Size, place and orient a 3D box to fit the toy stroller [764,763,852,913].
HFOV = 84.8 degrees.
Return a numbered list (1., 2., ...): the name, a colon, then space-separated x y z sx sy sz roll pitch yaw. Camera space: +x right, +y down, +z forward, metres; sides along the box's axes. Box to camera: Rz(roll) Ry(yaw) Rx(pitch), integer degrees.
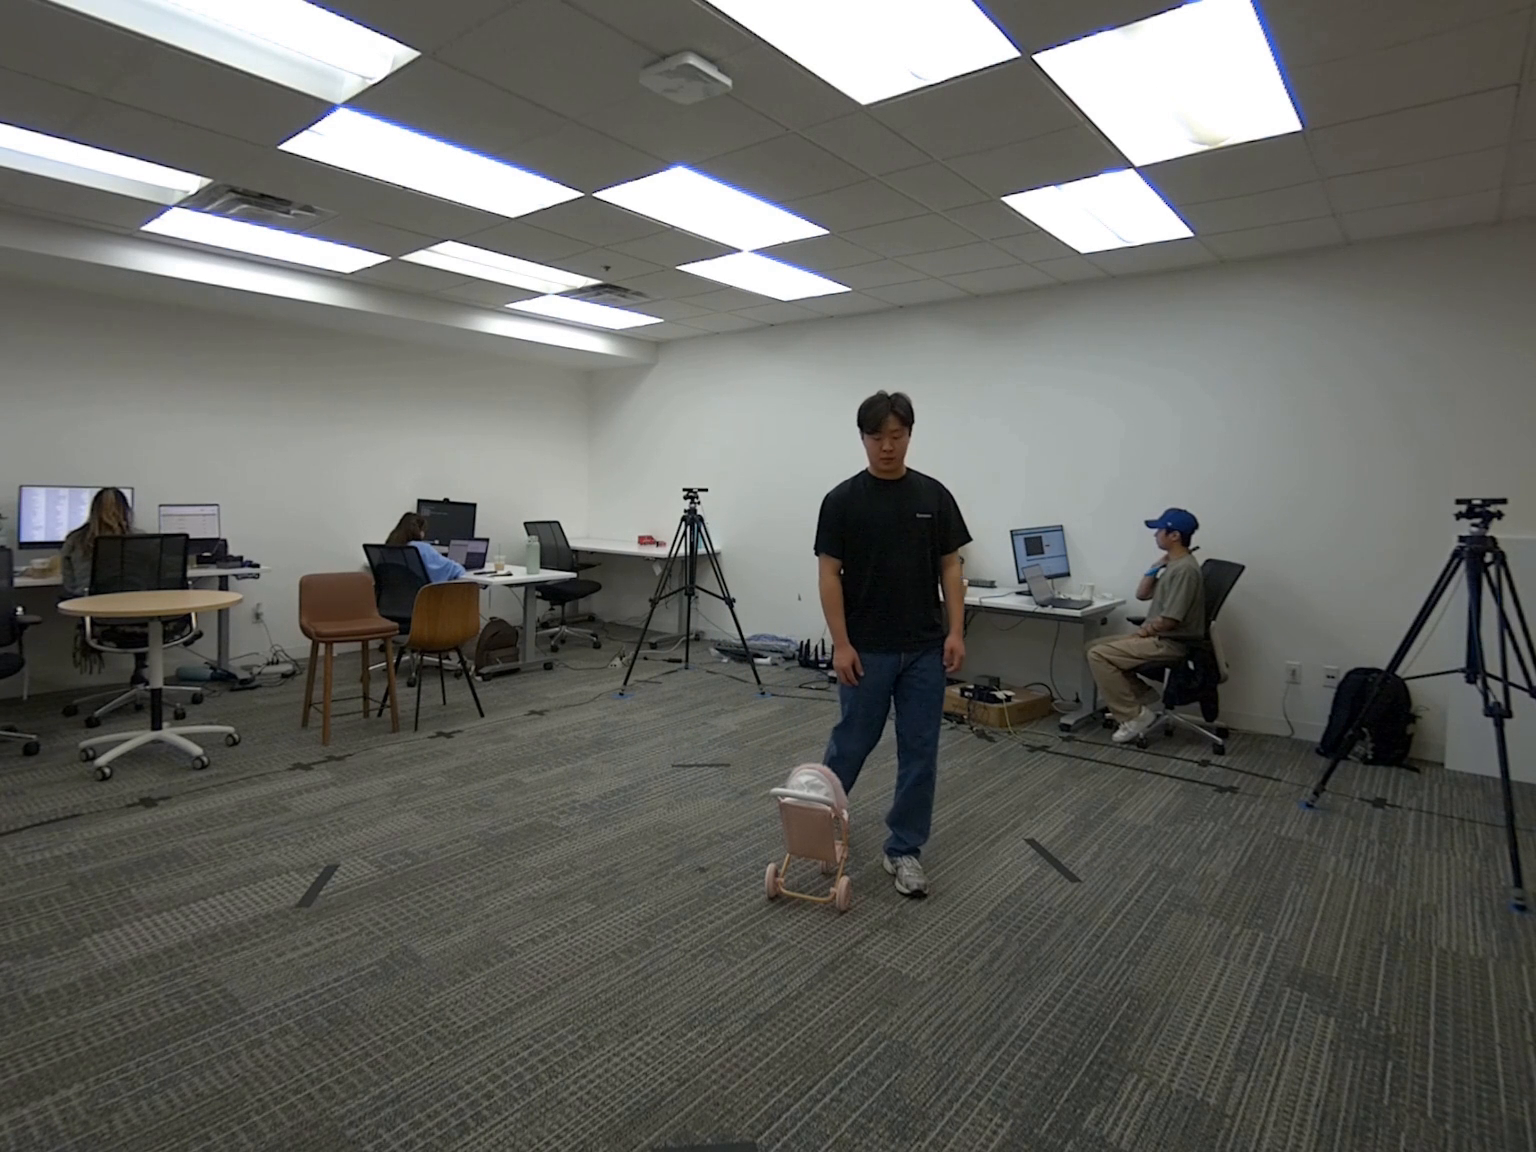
1. toy stroller: 0.152 0.871 2.919 0.288 0.525 0.339 4 20 22
